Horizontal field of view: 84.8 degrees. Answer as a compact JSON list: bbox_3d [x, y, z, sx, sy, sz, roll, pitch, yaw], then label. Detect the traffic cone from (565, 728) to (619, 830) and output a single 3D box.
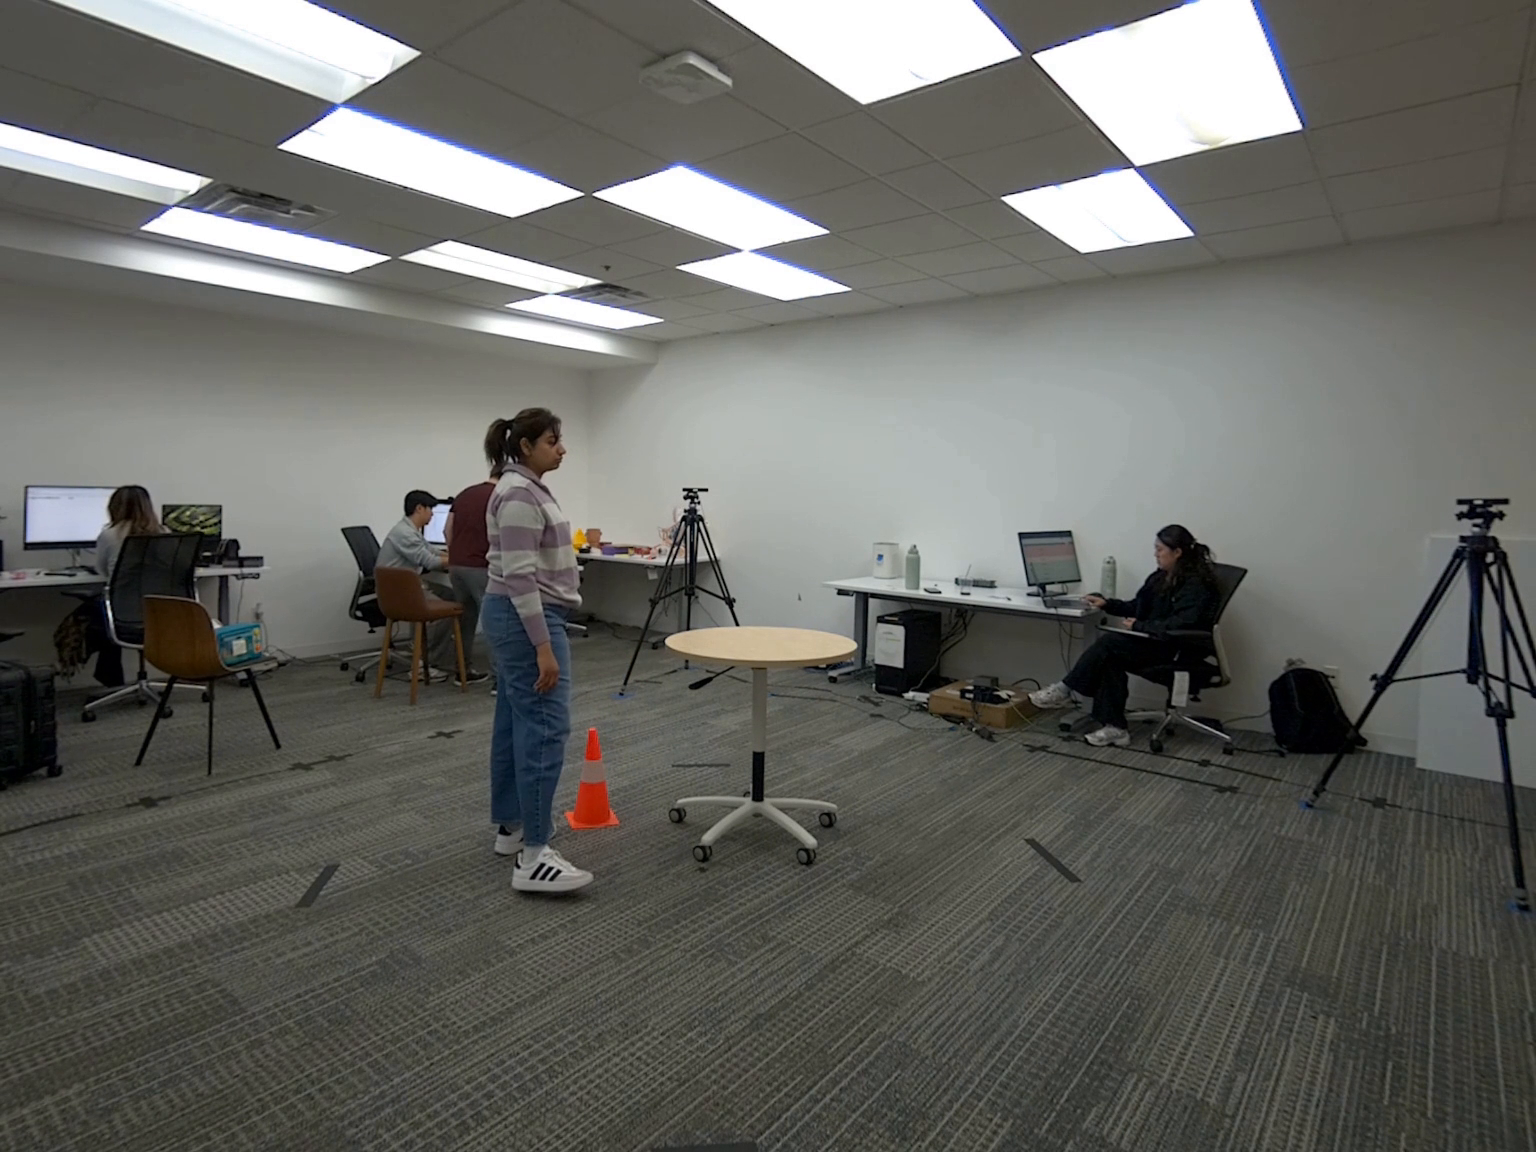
[{"bbox_3d":[-0.750,0.833,3.564,0.199,0.382,0.210,0,4,-23],"label":"traffic cone"}]
